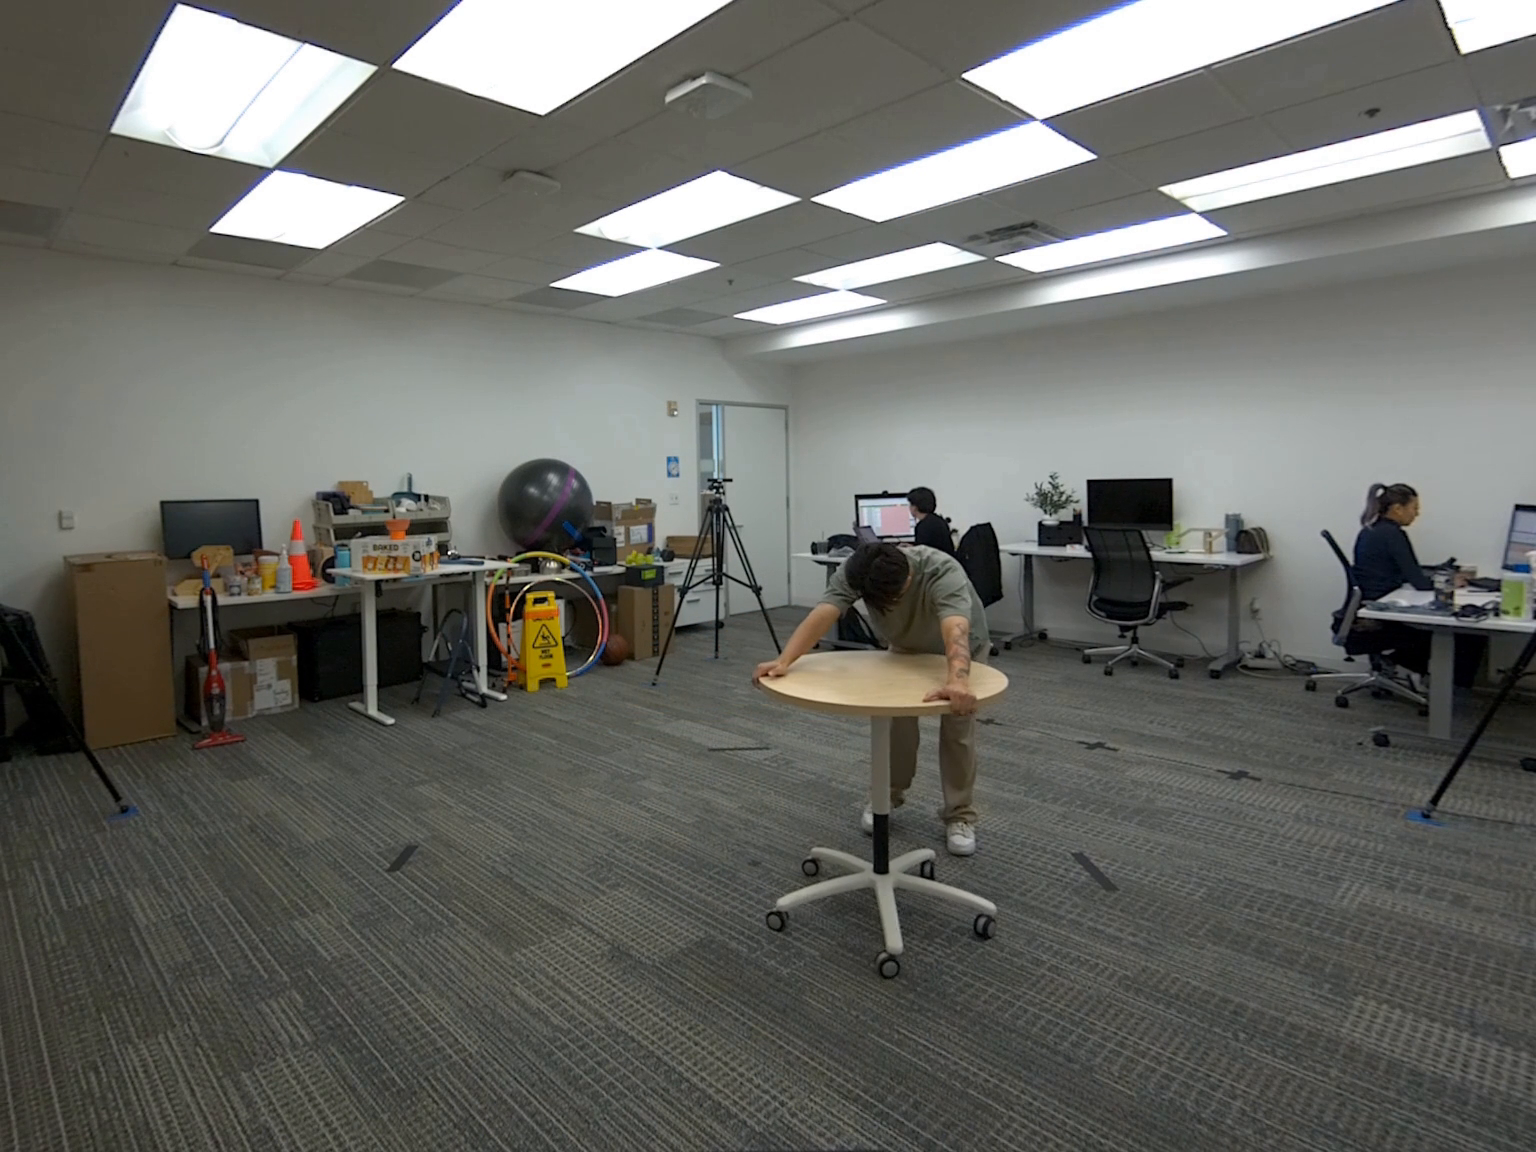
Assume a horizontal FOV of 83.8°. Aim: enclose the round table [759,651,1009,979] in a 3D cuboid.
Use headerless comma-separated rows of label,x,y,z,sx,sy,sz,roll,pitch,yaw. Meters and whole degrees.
round table,0.364,0.697,2.695,0.784,0.783,0.789,-1,5,-2
